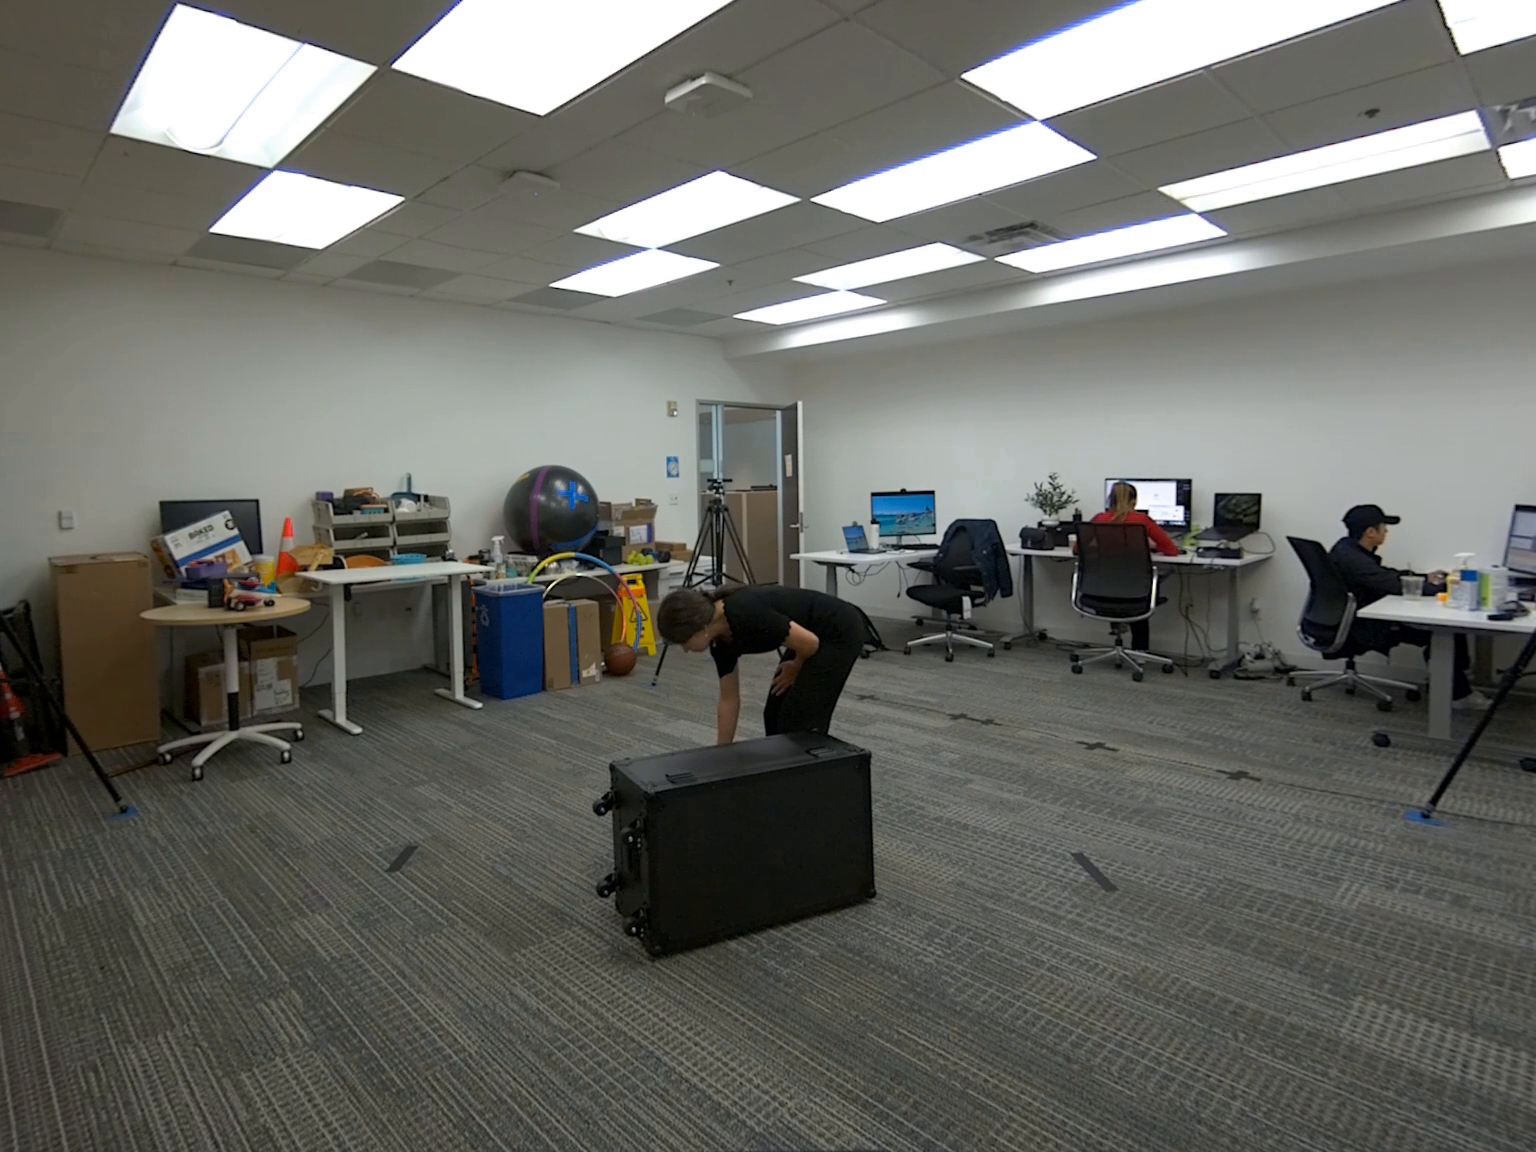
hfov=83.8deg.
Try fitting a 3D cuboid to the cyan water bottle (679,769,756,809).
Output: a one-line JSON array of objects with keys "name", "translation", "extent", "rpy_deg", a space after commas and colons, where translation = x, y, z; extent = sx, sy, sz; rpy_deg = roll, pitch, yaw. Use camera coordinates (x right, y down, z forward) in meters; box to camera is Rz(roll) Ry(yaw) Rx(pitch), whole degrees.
[{"name": "cyan water bottle", "translation": [-0.199, 0.832, 3.358], "extent": [0.284, 0.092, 0.092], "rpy_deg": [-7, 5, 1]}]
